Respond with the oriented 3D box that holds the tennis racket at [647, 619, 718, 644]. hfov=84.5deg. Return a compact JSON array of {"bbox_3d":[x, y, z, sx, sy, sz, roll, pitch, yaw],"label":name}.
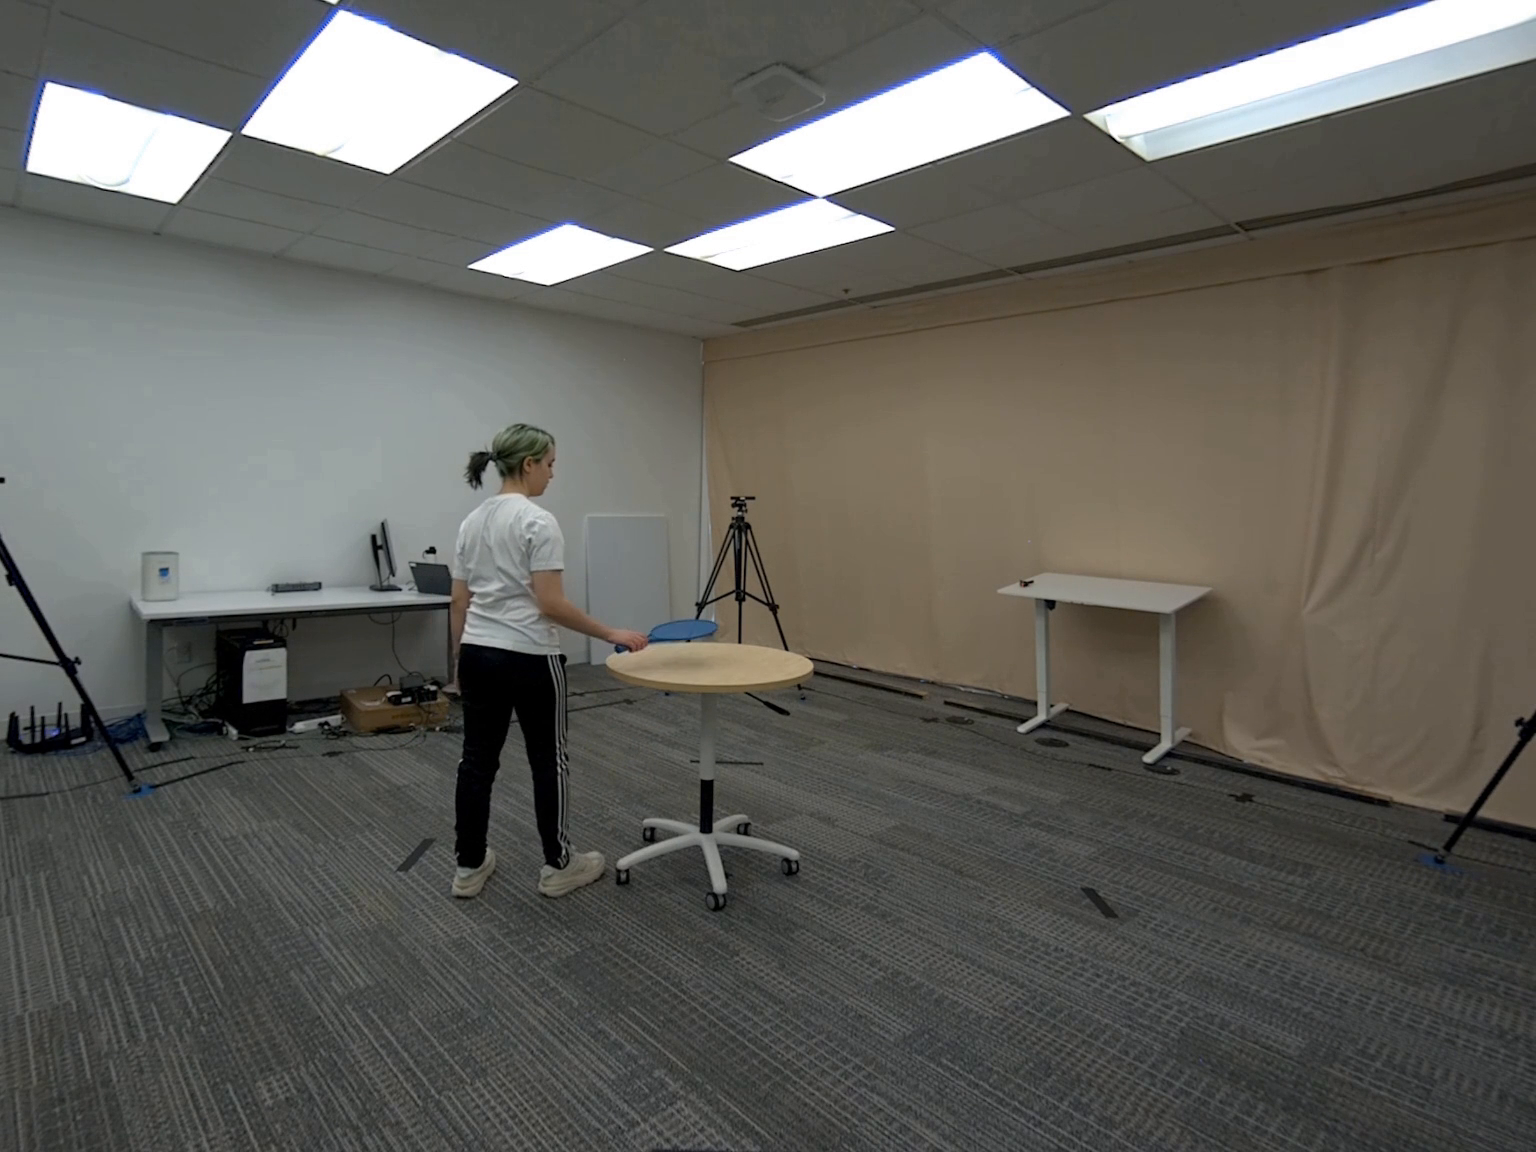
[{"bbox_3d":[-0.352,0.212,3.011,0.425,0.031,0.220,-11,17,-35],"label":"tennis racket"}]
